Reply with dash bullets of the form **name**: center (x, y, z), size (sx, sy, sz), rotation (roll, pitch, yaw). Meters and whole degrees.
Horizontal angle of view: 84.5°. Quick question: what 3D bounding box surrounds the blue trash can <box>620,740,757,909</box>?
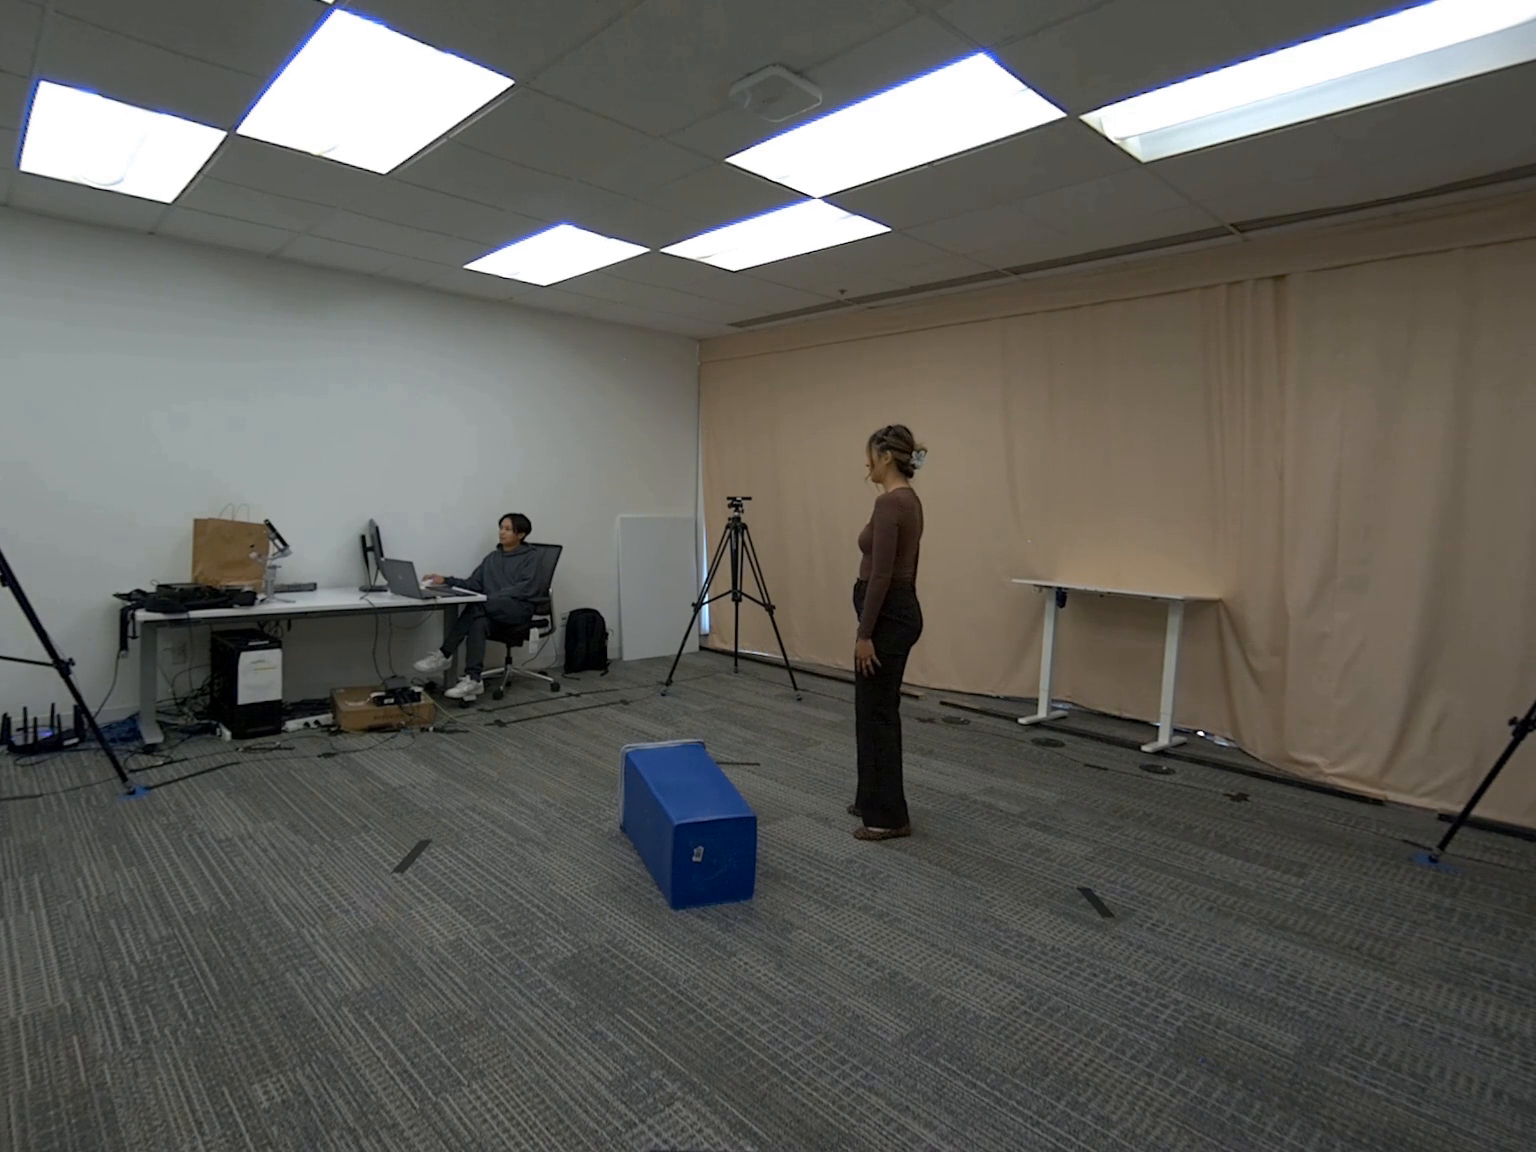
- **blue trash can**: center (-0.322, 0.922, 3.191), size (0.368, 0.376, 0.727), rotation (1, 6, -21)
